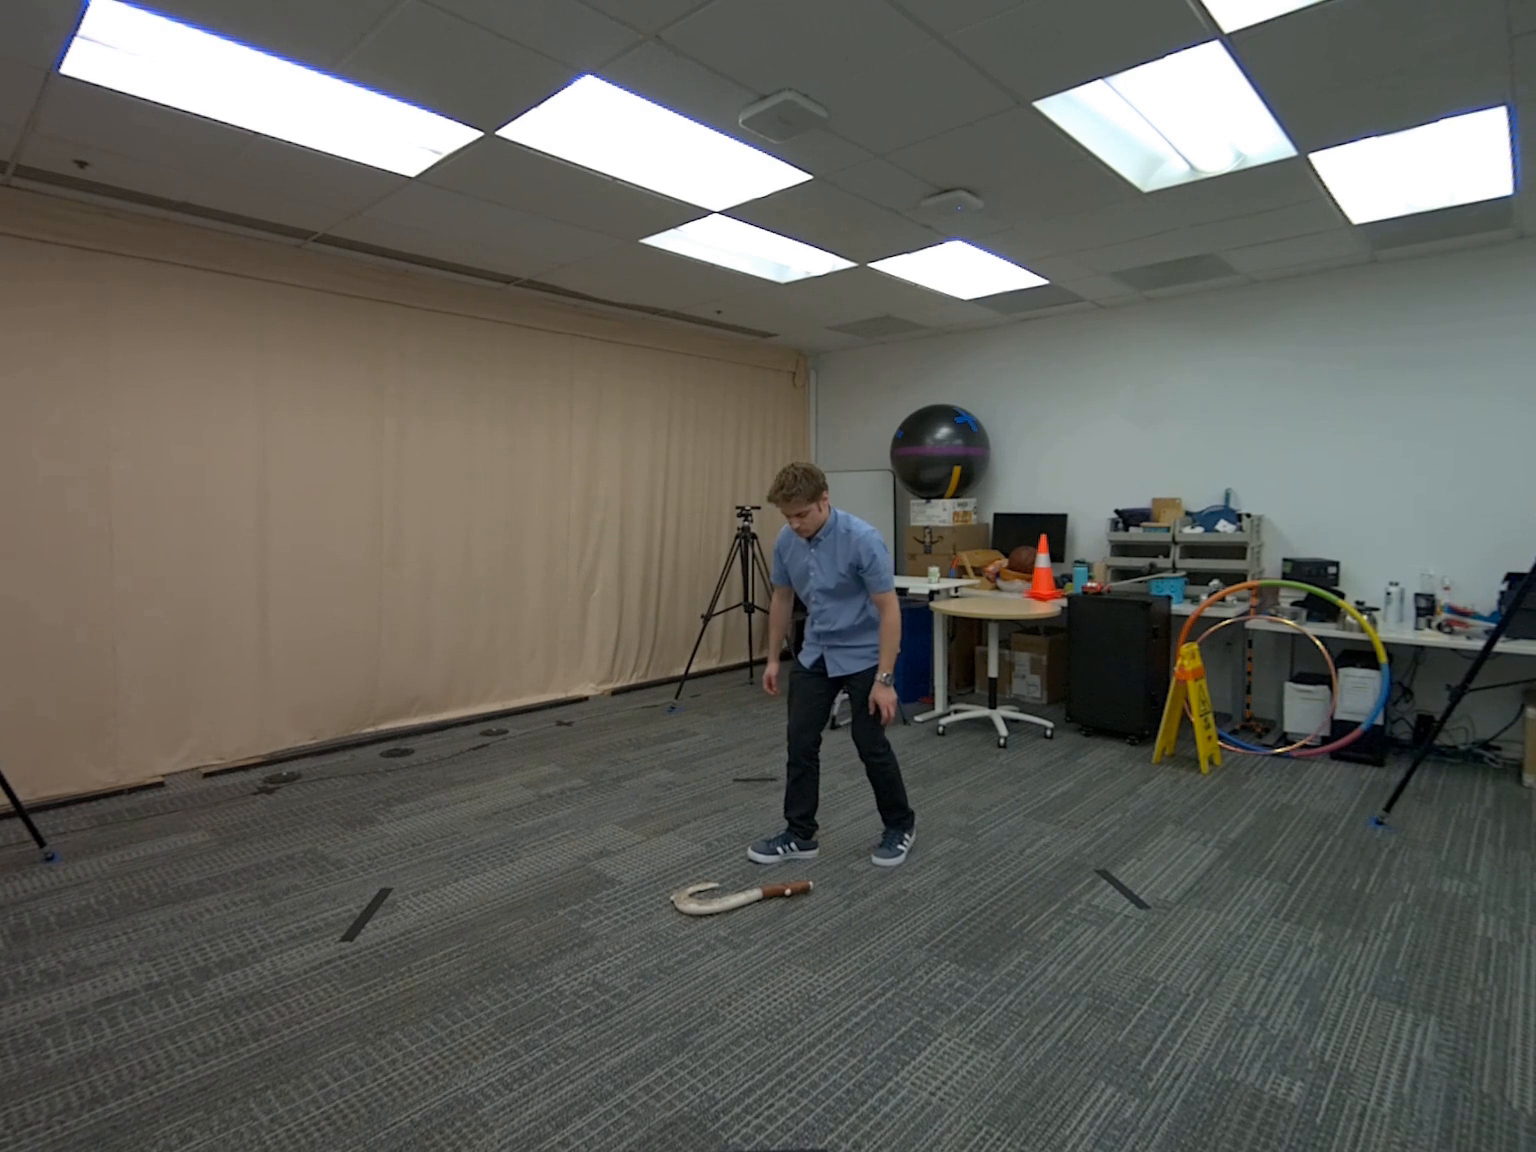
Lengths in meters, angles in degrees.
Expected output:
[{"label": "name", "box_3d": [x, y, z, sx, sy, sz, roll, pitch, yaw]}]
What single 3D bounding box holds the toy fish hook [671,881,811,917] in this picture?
[{"label": "toy fish hook", "box_3d": [-0.090, 1.121, 2.998, 0.496, 0.048, 0.230, -1, 5, -20]}]
